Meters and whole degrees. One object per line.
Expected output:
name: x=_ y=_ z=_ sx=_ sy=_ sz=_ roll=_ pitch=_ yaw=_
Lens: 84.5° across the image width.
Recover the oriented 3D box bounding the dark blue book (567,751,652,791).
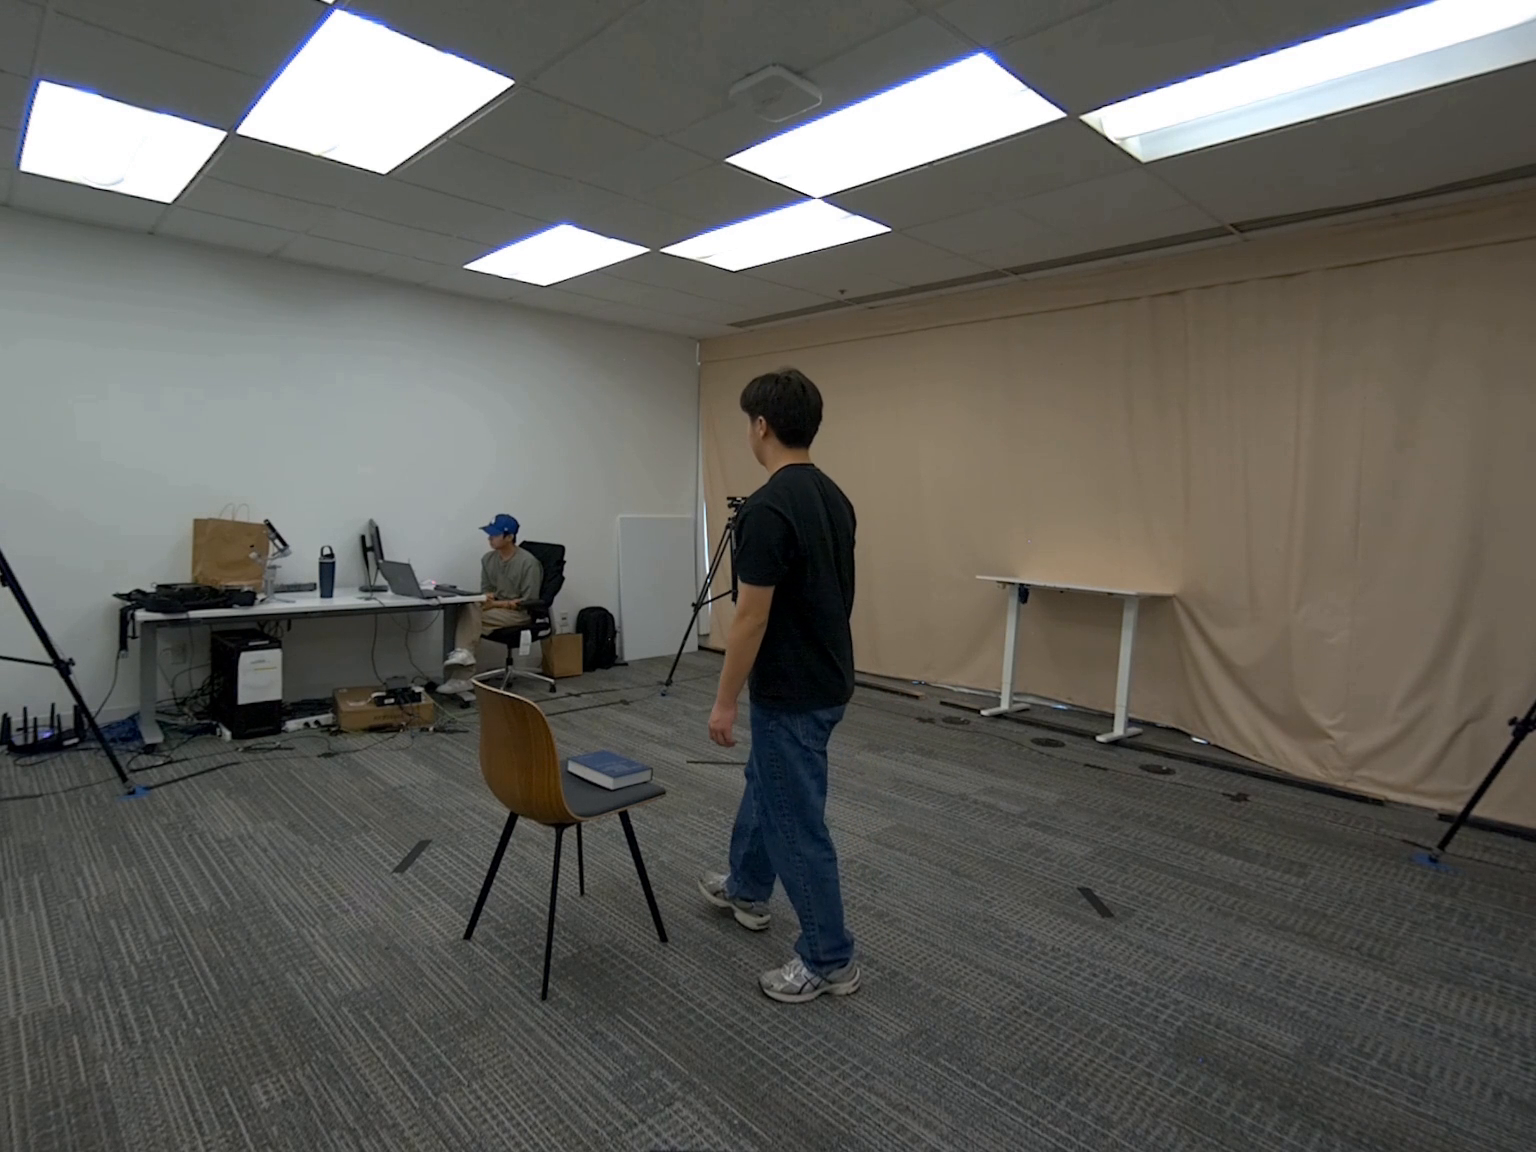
dark blue book: x=-0.517 y=0.627 z=2.719 sx=0.251 sy=0.045 sz=0.159 roll=8 pitch=6 yaw=43
